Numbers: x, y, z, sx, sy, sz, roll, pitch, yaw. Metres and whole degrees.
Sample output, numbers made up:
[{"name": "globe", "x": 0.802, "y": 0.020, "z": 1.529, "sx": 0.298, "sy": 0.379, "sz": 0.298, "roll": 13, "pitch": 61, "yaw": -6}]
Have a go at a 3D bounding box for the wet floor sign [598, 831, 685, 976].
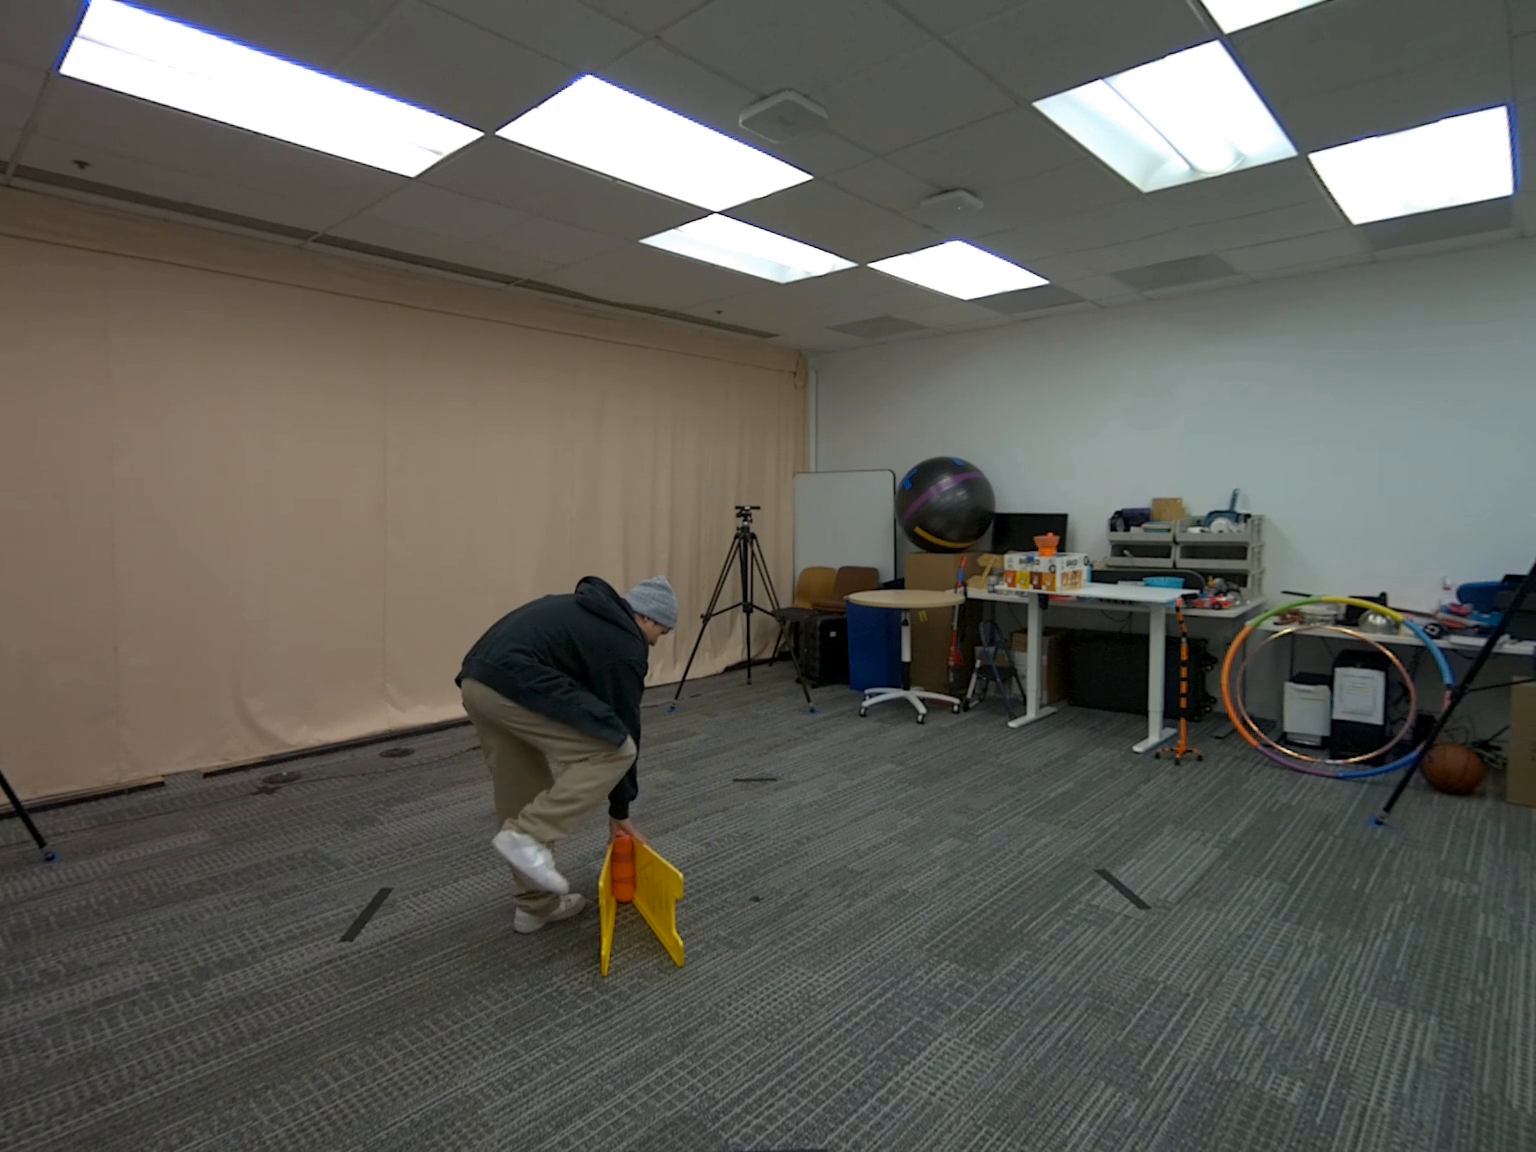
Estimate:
[{"name": "wet floor sign", "x": -0.473, "y": 1.035, "z": 2.822, "sx": 0.285, "sy": 0.282, "sz": 0.656, "roll": -1, "pitch": 1, "yaw": -16}]
